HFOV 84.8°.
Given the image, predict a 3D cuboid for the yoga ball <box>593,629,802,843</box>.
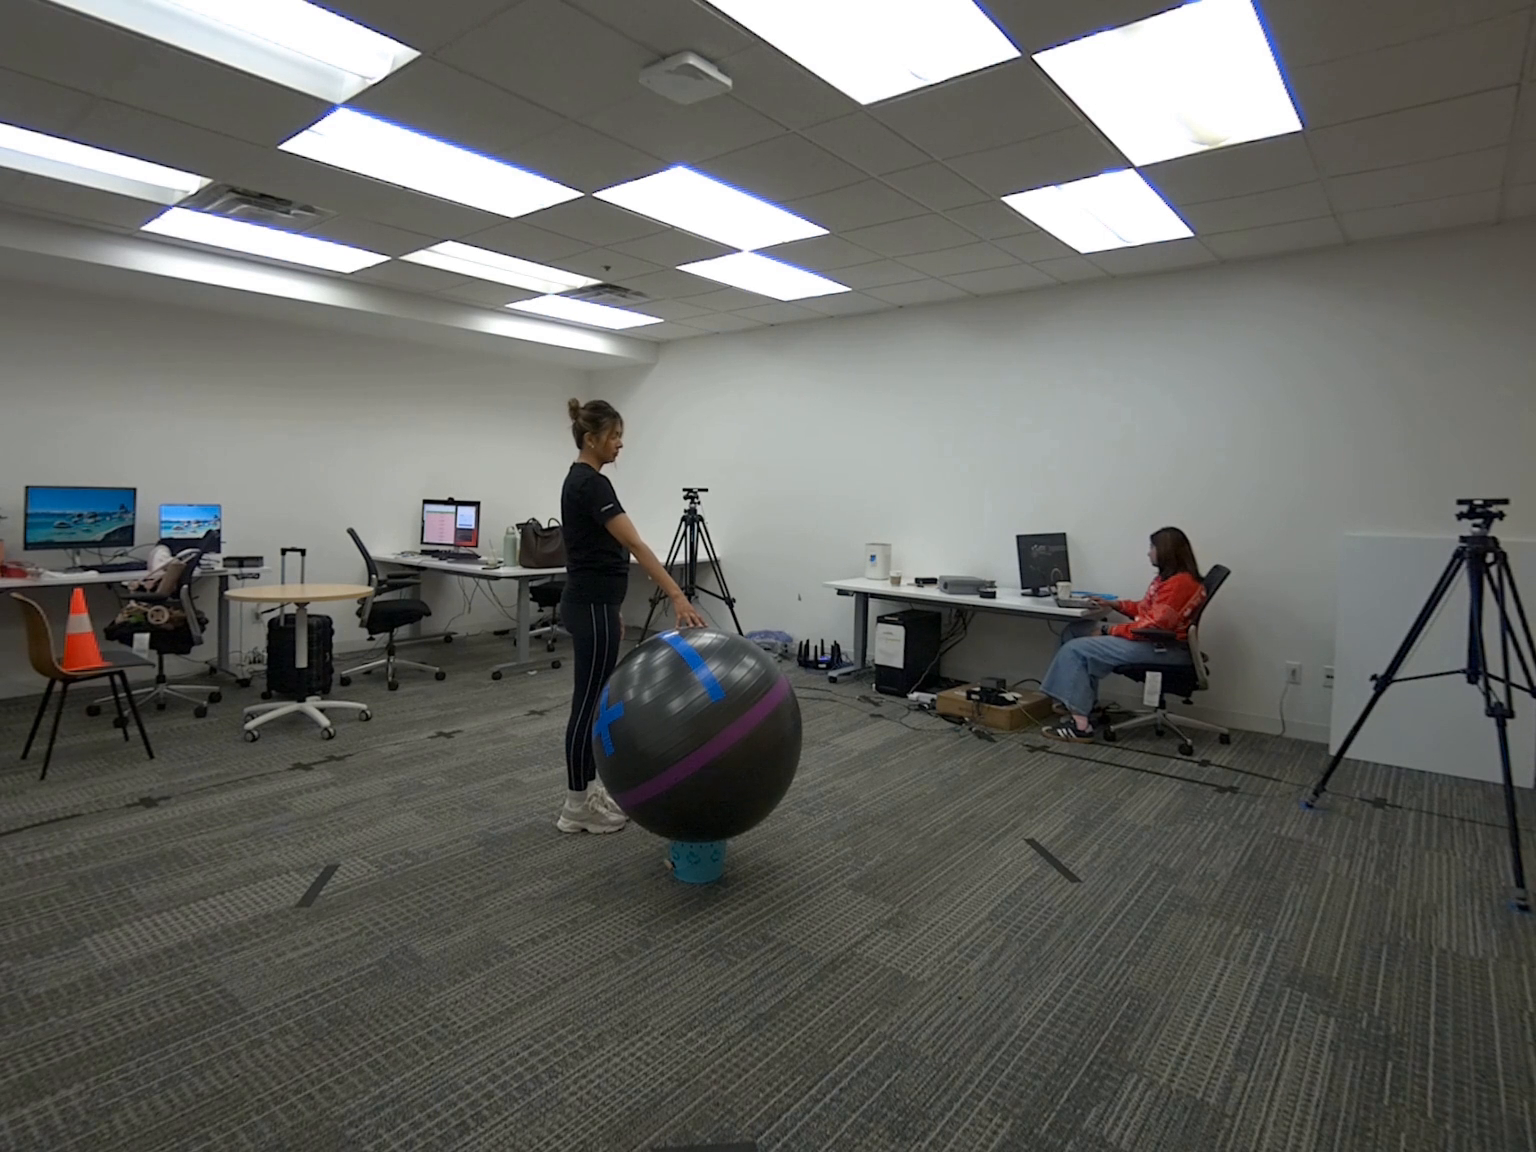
[{"bbox_3d":[-0.266,0.567,3.071,0.757,0.755,0.762,1,4,-2],"label":"yoga ball"}]
